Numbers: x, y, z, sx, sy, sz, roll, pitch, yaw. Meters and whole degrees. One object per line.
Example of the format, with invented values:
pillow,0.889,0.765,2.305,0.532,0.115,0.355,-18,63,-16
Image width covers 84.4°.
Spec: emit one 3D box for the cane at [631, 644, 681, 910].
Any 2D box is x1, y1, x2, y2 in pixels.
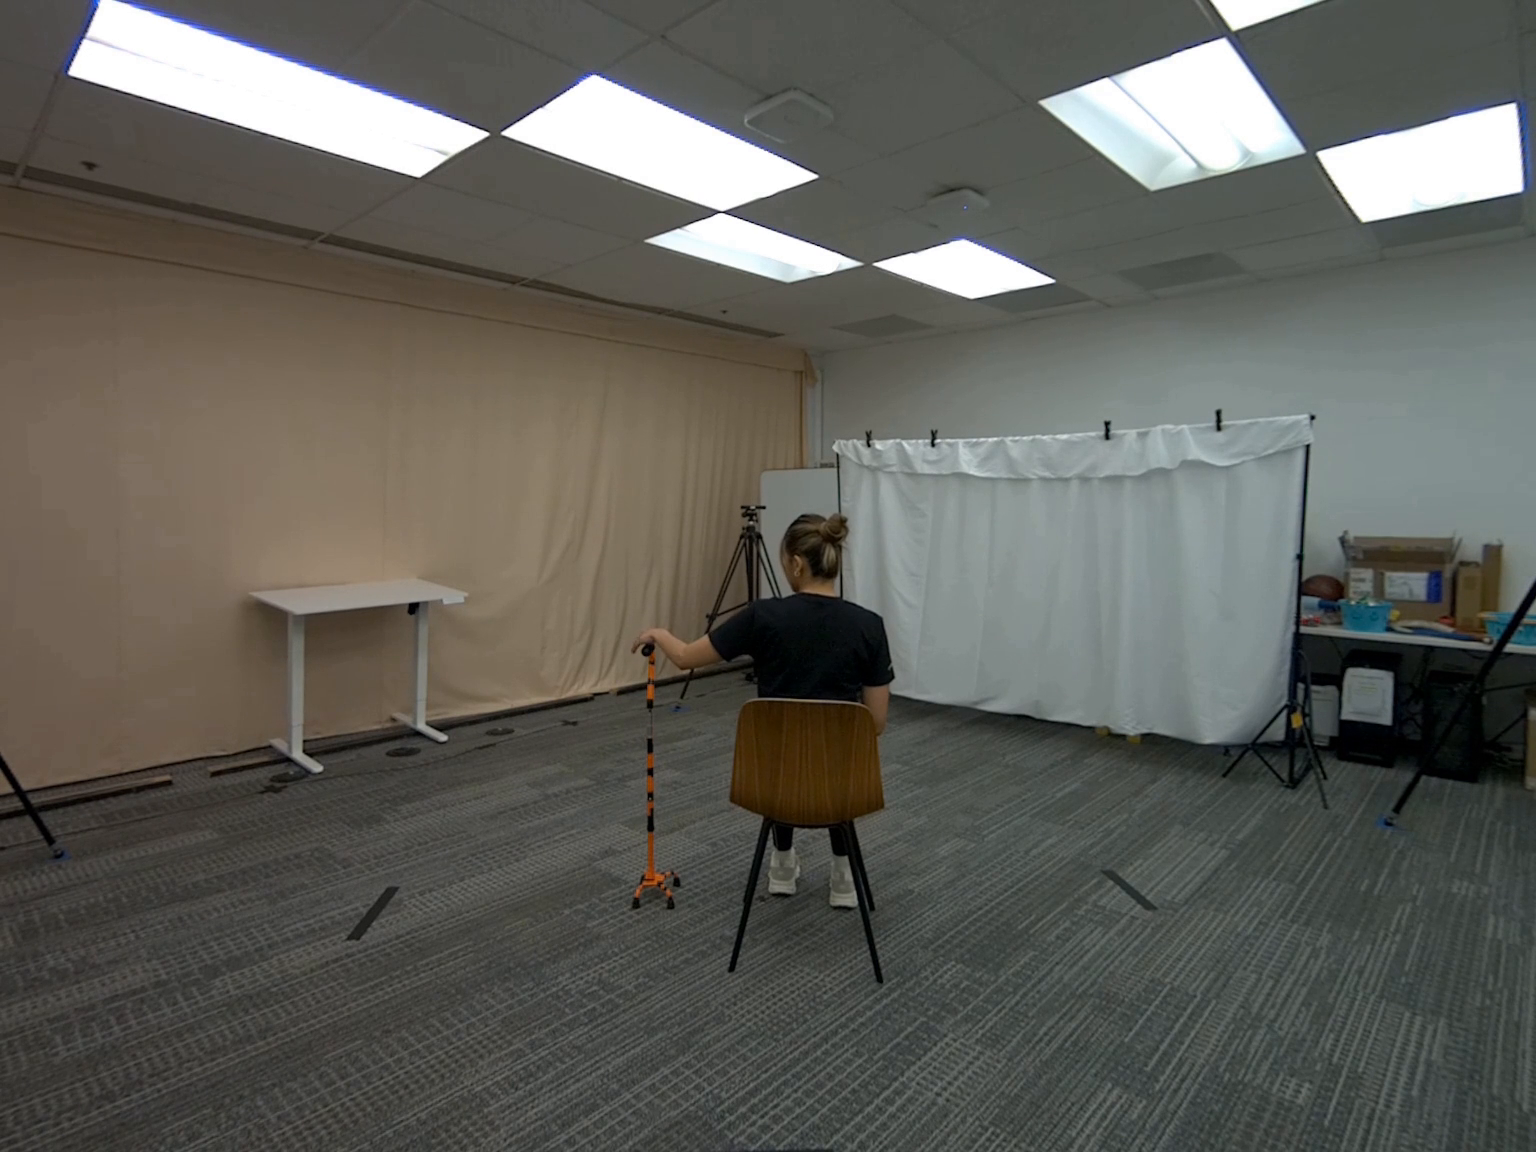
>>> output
cane,-0.404,0.692,2.993,0.152,0.906,0.206,0,2,0
